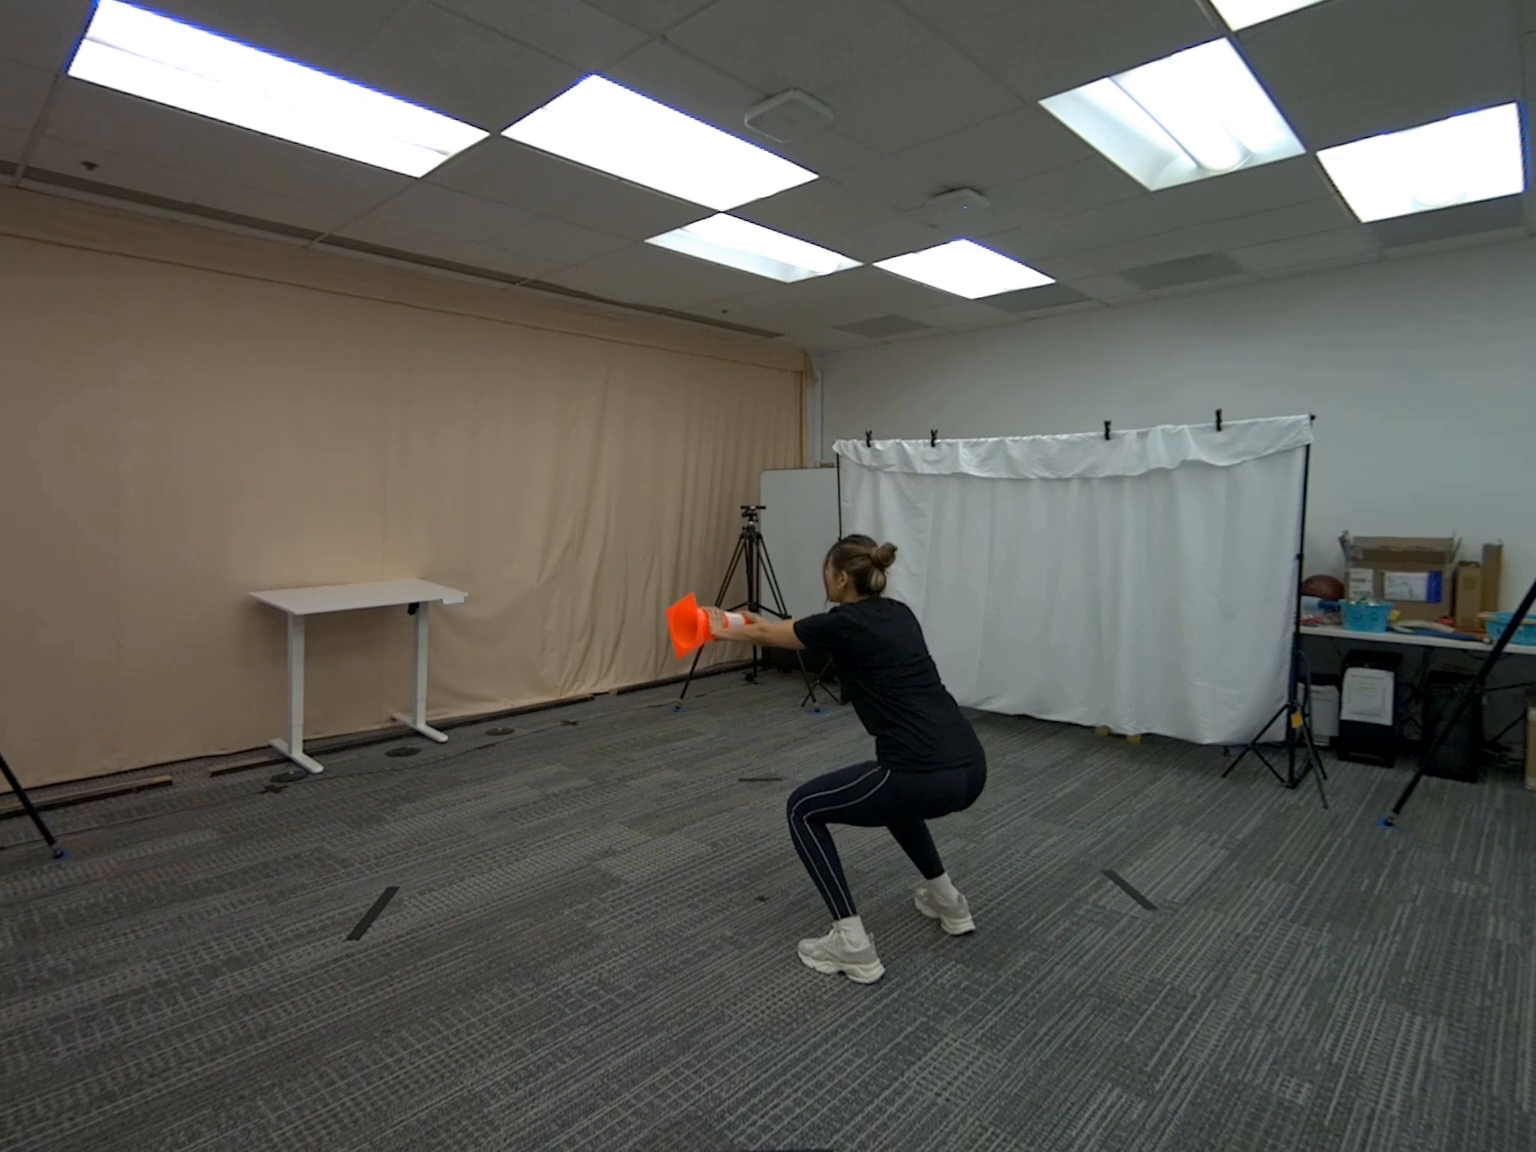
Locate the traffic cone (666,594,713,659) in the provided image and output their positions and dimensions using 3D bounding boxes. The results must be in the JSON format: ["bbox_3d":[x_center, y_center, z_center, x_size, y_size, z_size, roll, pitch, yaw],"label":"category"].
[{"bbox_3d":[-0.157,0.184,3.214,0.372,0.208,0.206,2,-24,-37],"label":"traffic cone"}]
